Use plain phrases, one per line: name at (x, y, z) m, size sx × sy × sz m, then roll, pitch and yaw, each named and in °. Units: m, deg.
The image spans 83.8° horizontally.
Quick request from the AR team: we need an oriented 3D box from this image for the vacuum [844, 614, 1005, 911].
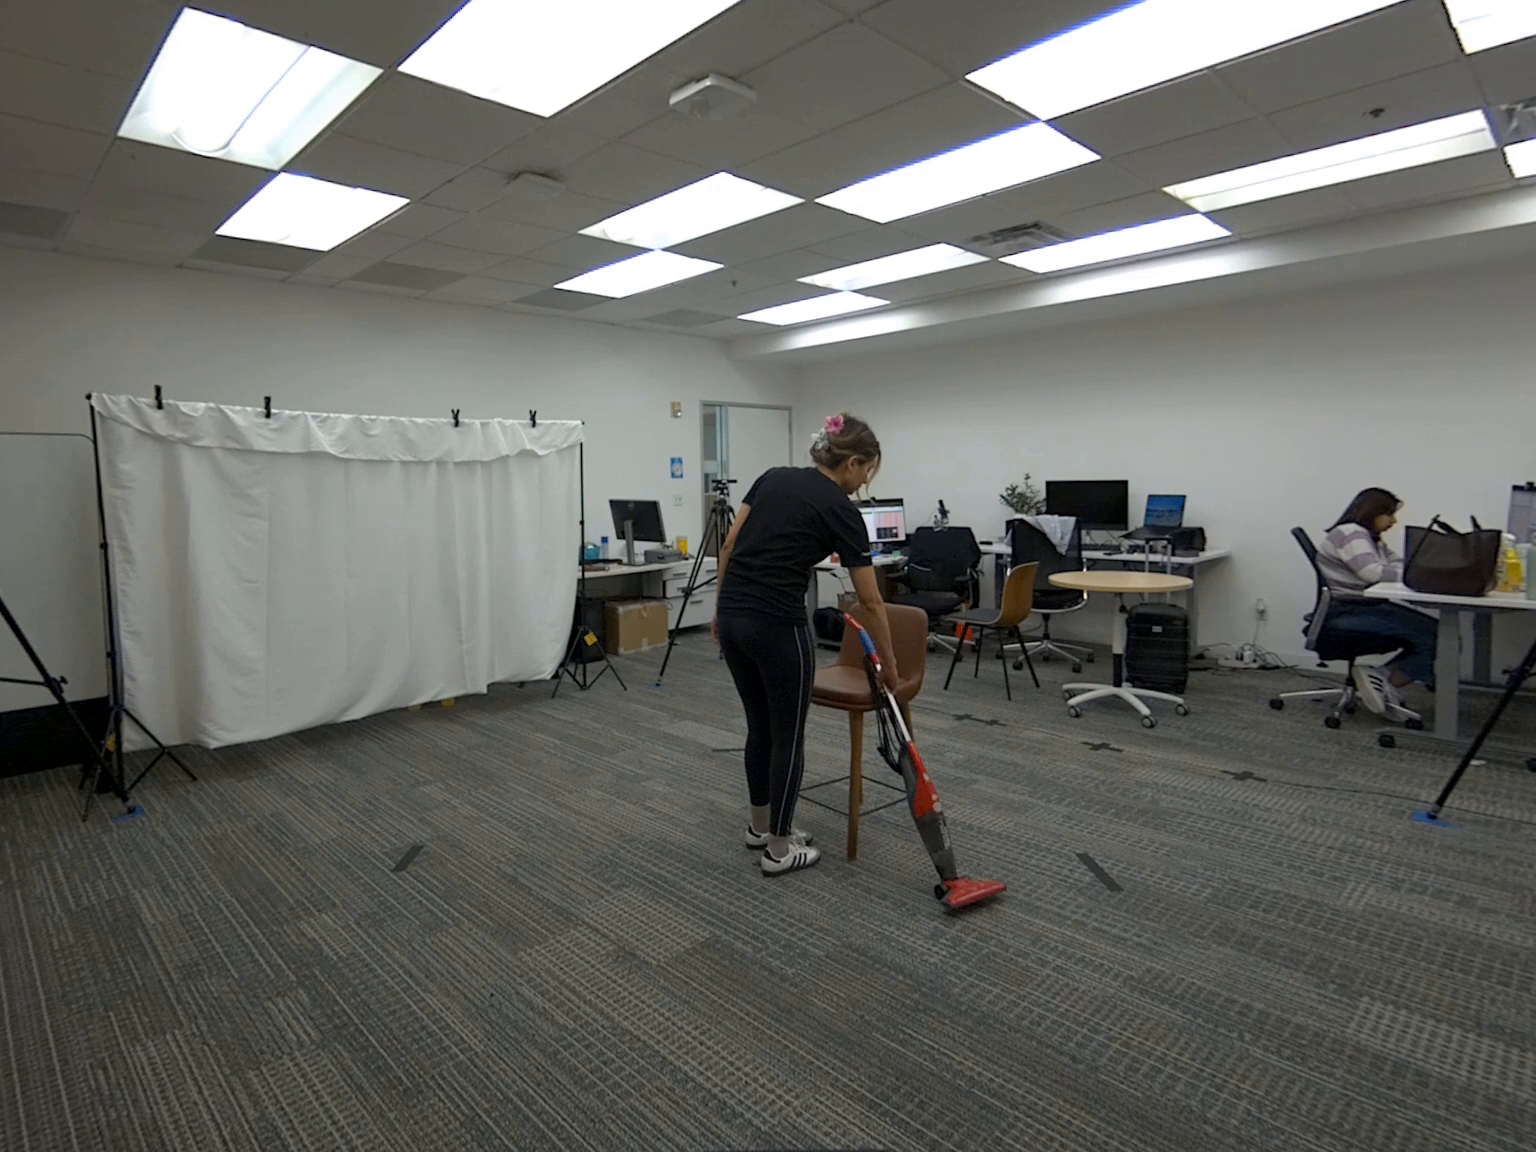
vacuum at (0.489, 0.609, 3.035) m, size 0.246 × 1.080 × 0.143 m, roll -1°, pitch -33°, yaw -33°
